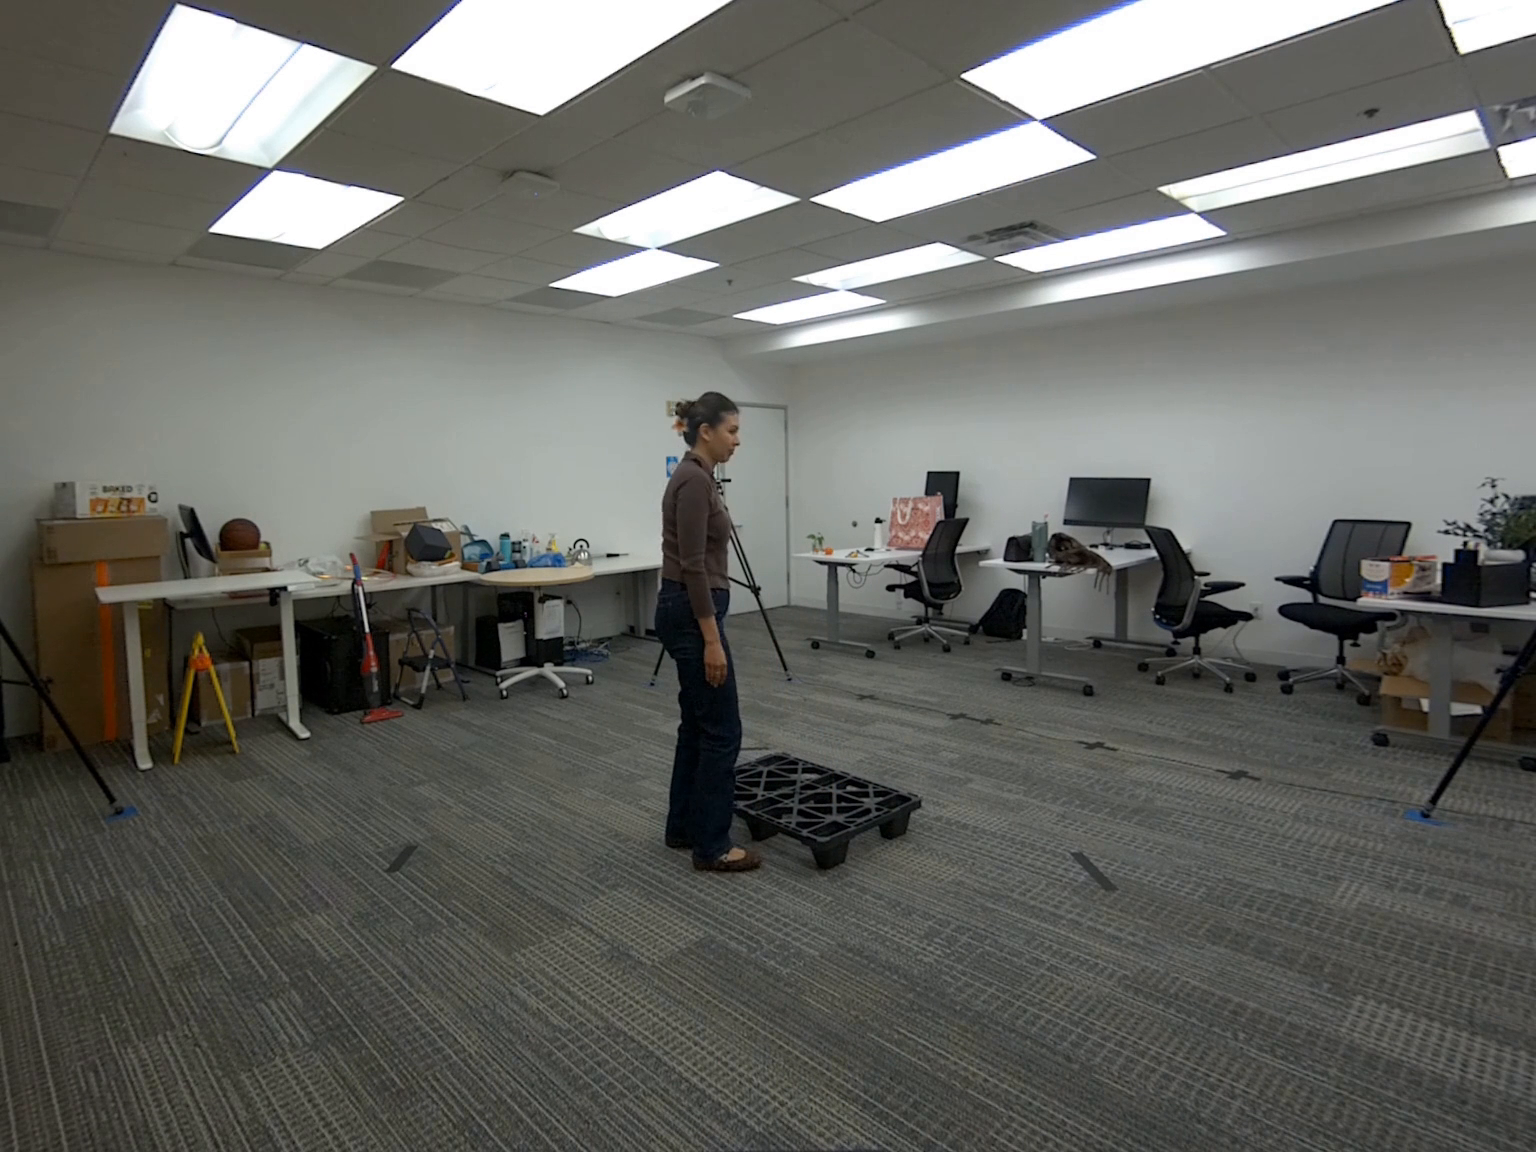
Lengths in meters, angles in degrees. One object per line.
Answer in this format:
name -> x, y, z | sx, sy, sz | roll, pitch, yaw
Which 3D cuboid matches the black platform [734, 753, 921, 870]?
black platform -> 0.122, 0.936, 3.461 | 0.589, 0.142, 0.830 | -8, 9, -43
